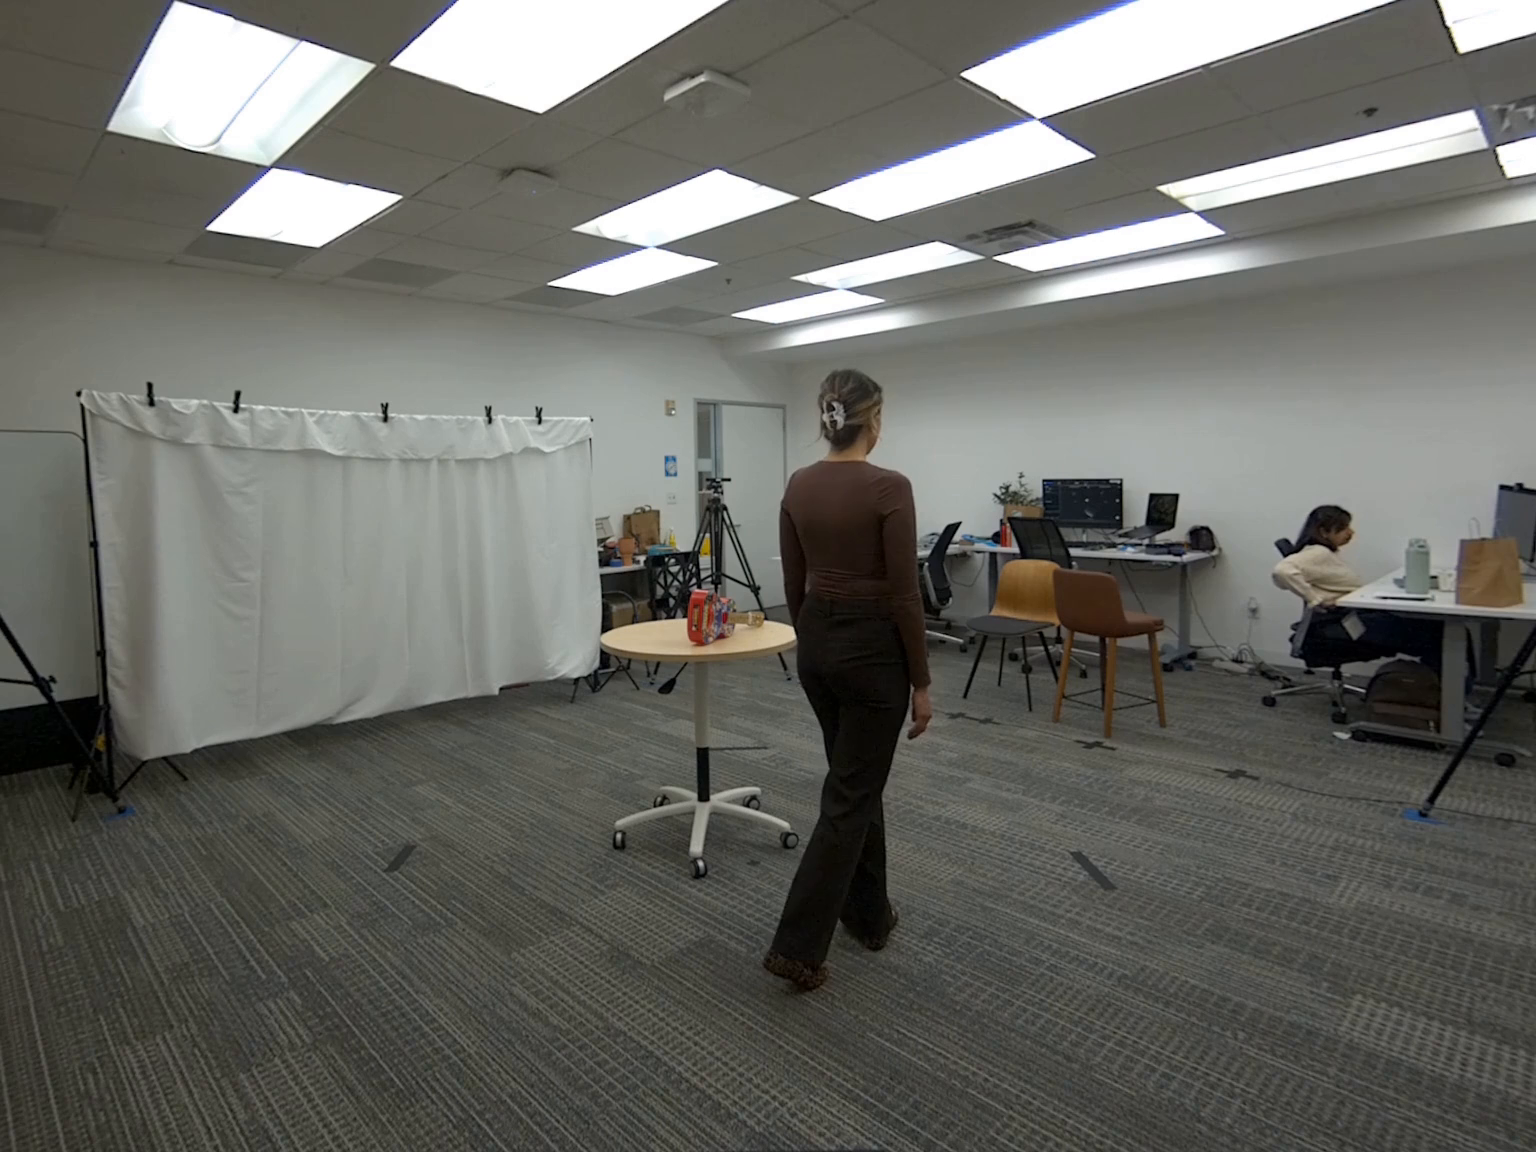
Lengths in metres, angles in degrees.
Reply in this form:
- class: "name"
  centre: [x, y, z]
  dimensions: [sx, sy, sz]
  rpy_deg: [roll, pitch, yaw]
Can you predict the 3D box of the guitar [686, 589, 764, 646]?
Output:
- class: "guitar"
  centre: [-0.155, 0.188, 3.265]
  dimensions: [0.072, 0.195, 0.481]
  rpy_deg: [0, -13, 26]
